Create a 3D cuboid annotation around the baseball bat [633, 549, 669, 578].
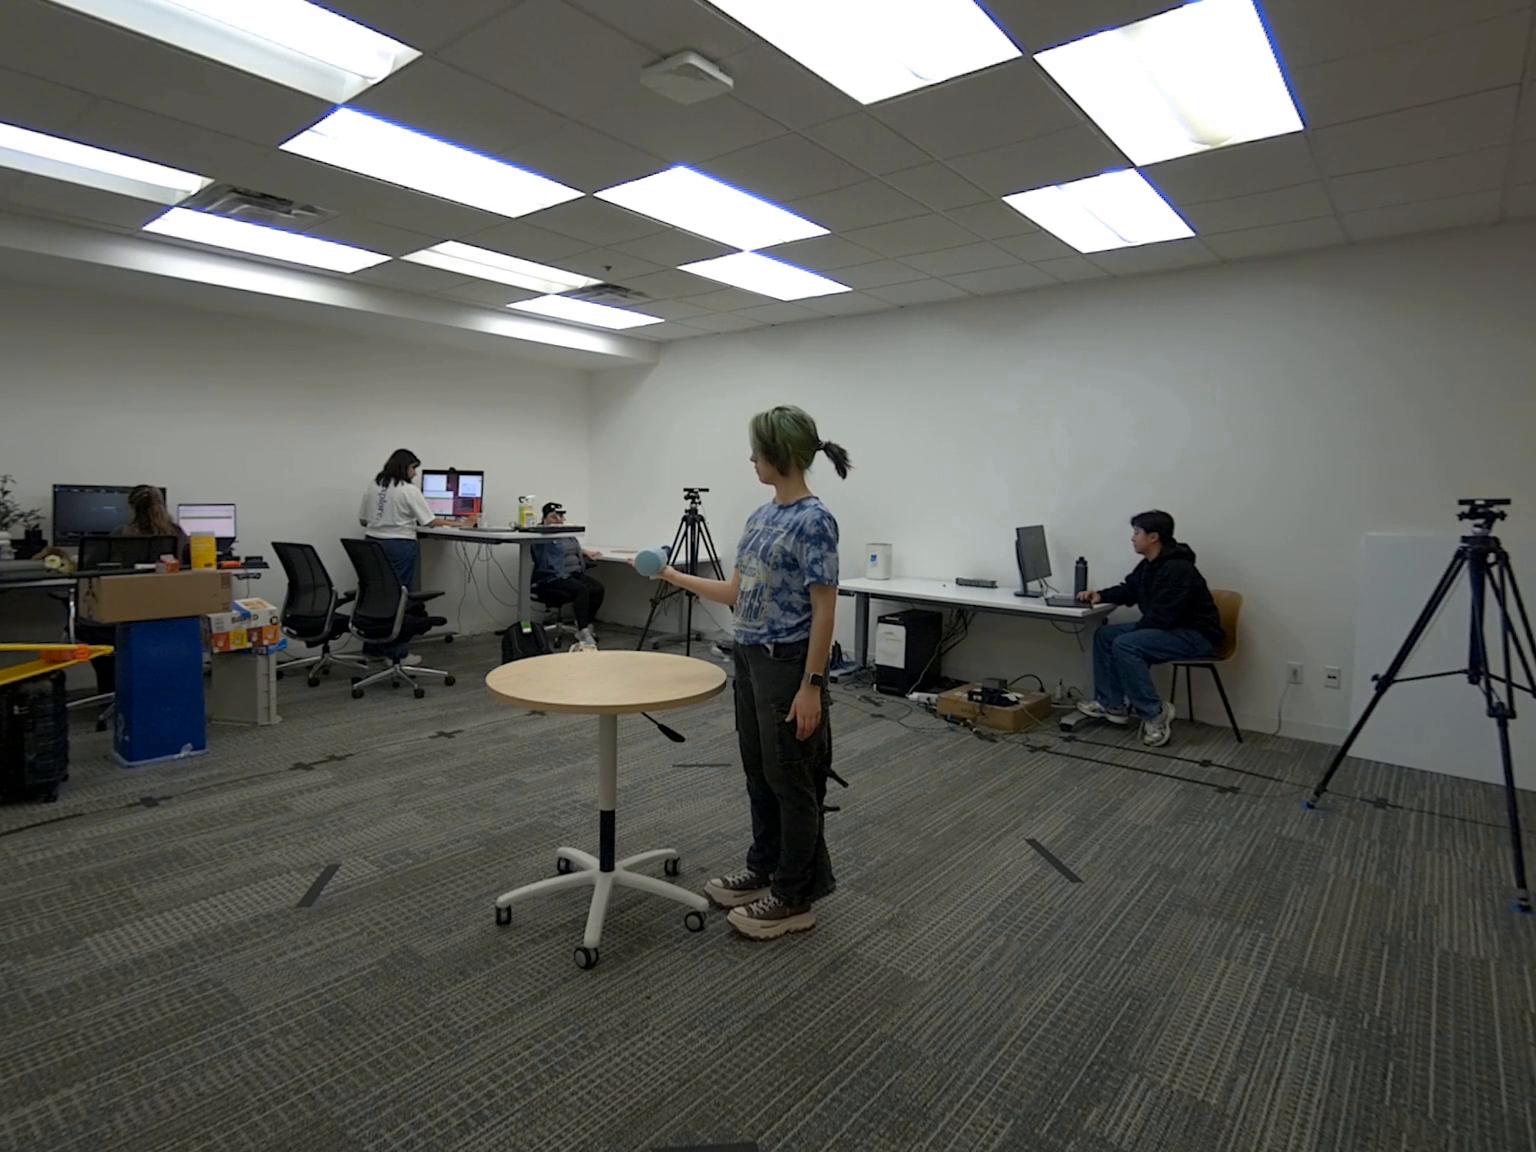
[{"bbox_3d":[-0.399,-0.059,2.938,0.089,0.089,0.545,1,5,-2],"label":"baseball bat"}]
